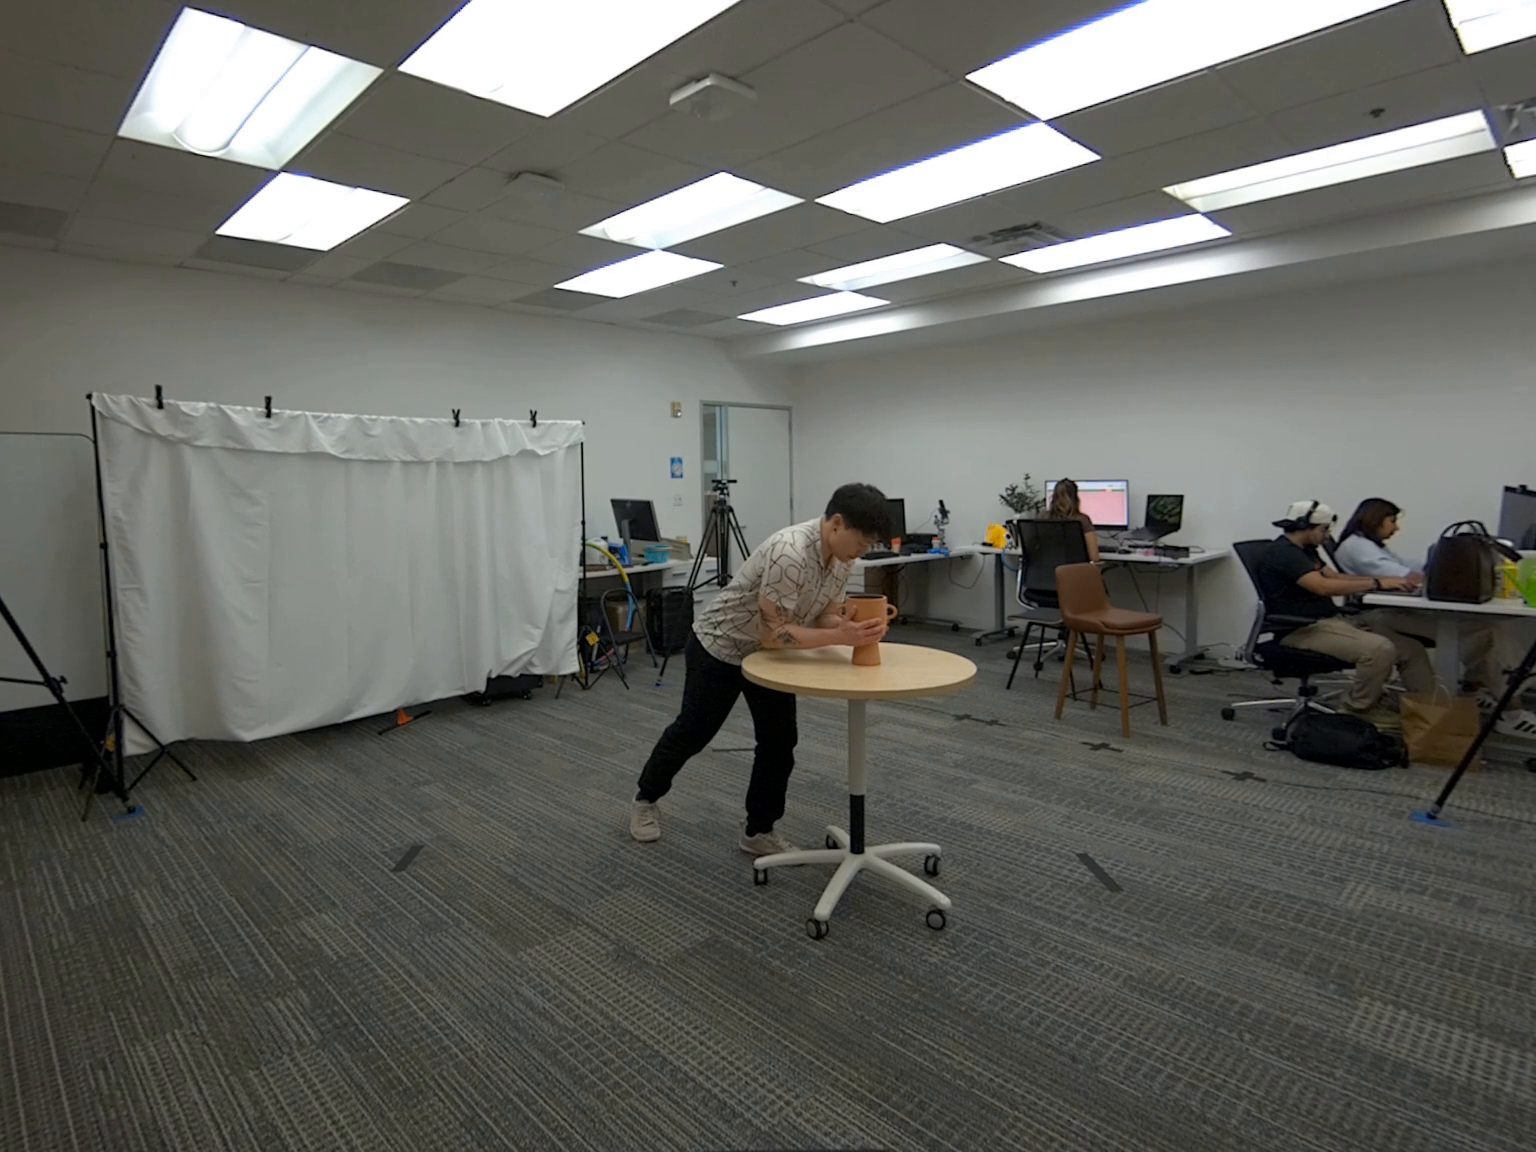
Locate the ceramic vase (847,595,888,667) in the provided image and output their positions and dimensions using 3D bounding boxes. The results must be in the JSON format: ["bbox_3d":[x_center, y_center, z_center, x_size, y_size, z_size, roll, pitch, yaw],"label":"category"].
[{"bbox_3d":[0.321,0.181,2.831,0.164,0.218,0.131,5,8,44],"label":"ceramic vase"}]
